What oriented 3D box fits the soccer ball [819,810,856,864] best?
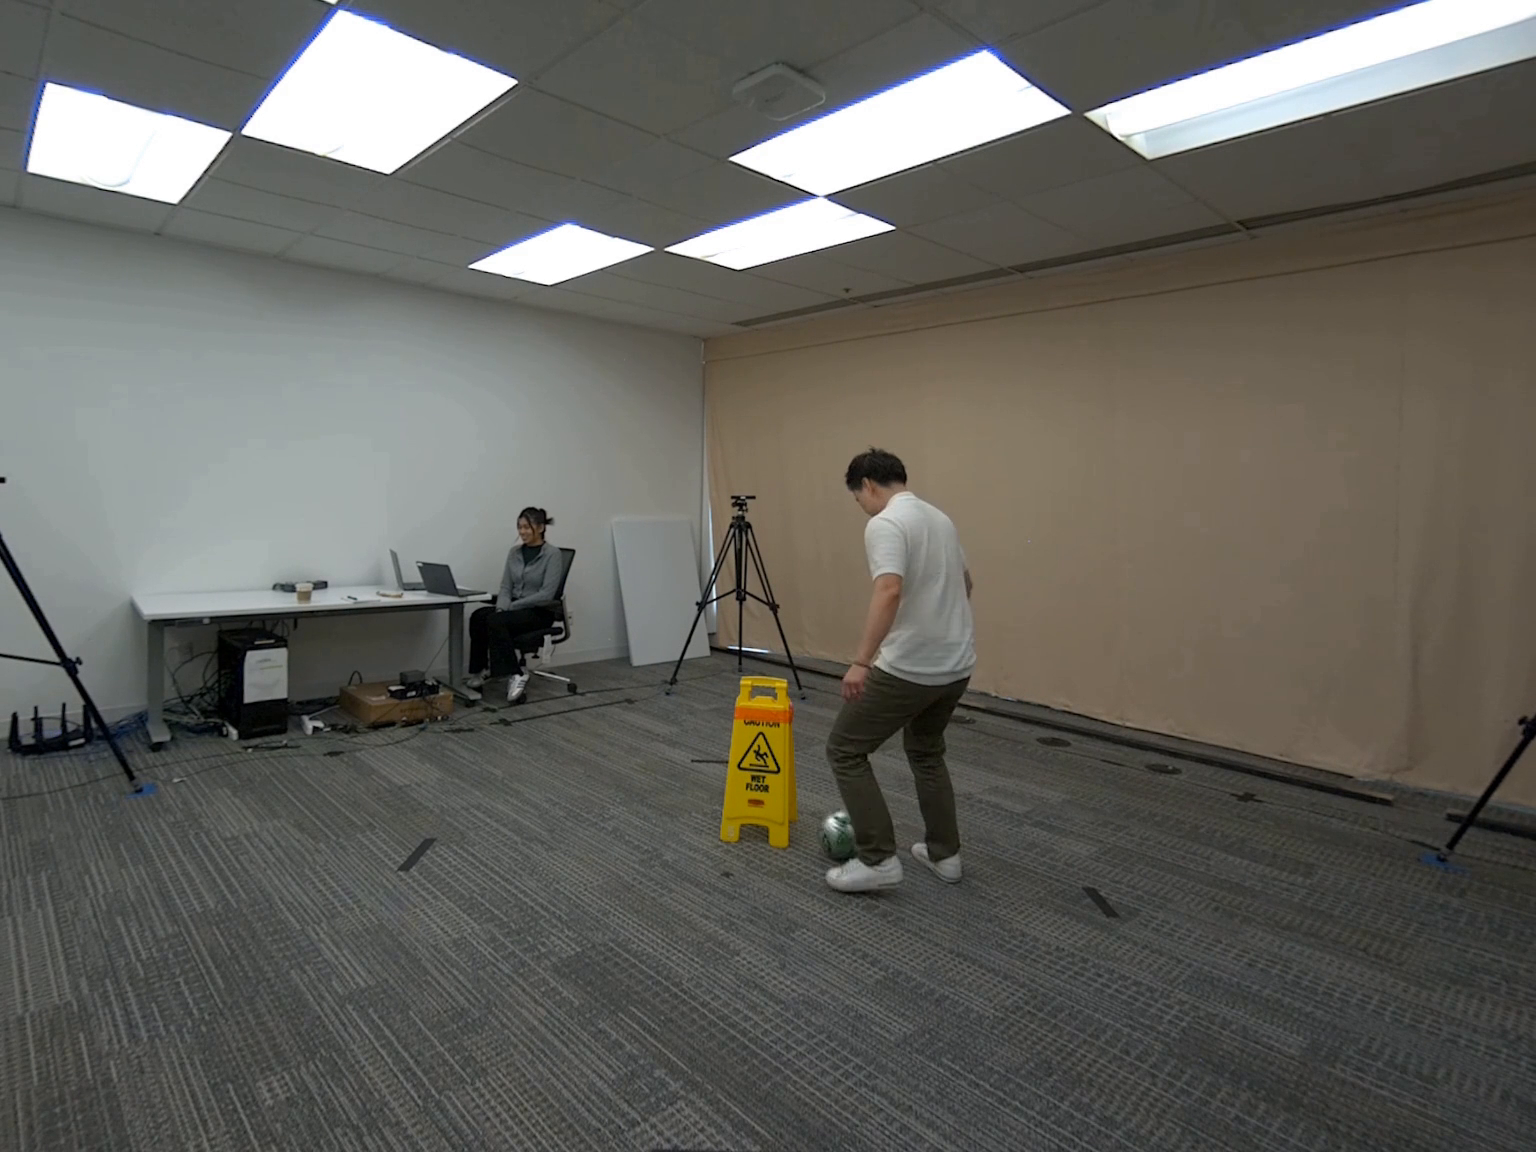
[{"bbox_3d":[0.282,0.998,3.273,0.187,0.187,0.188,1,4,-1],"label":"soccer ball"}]
